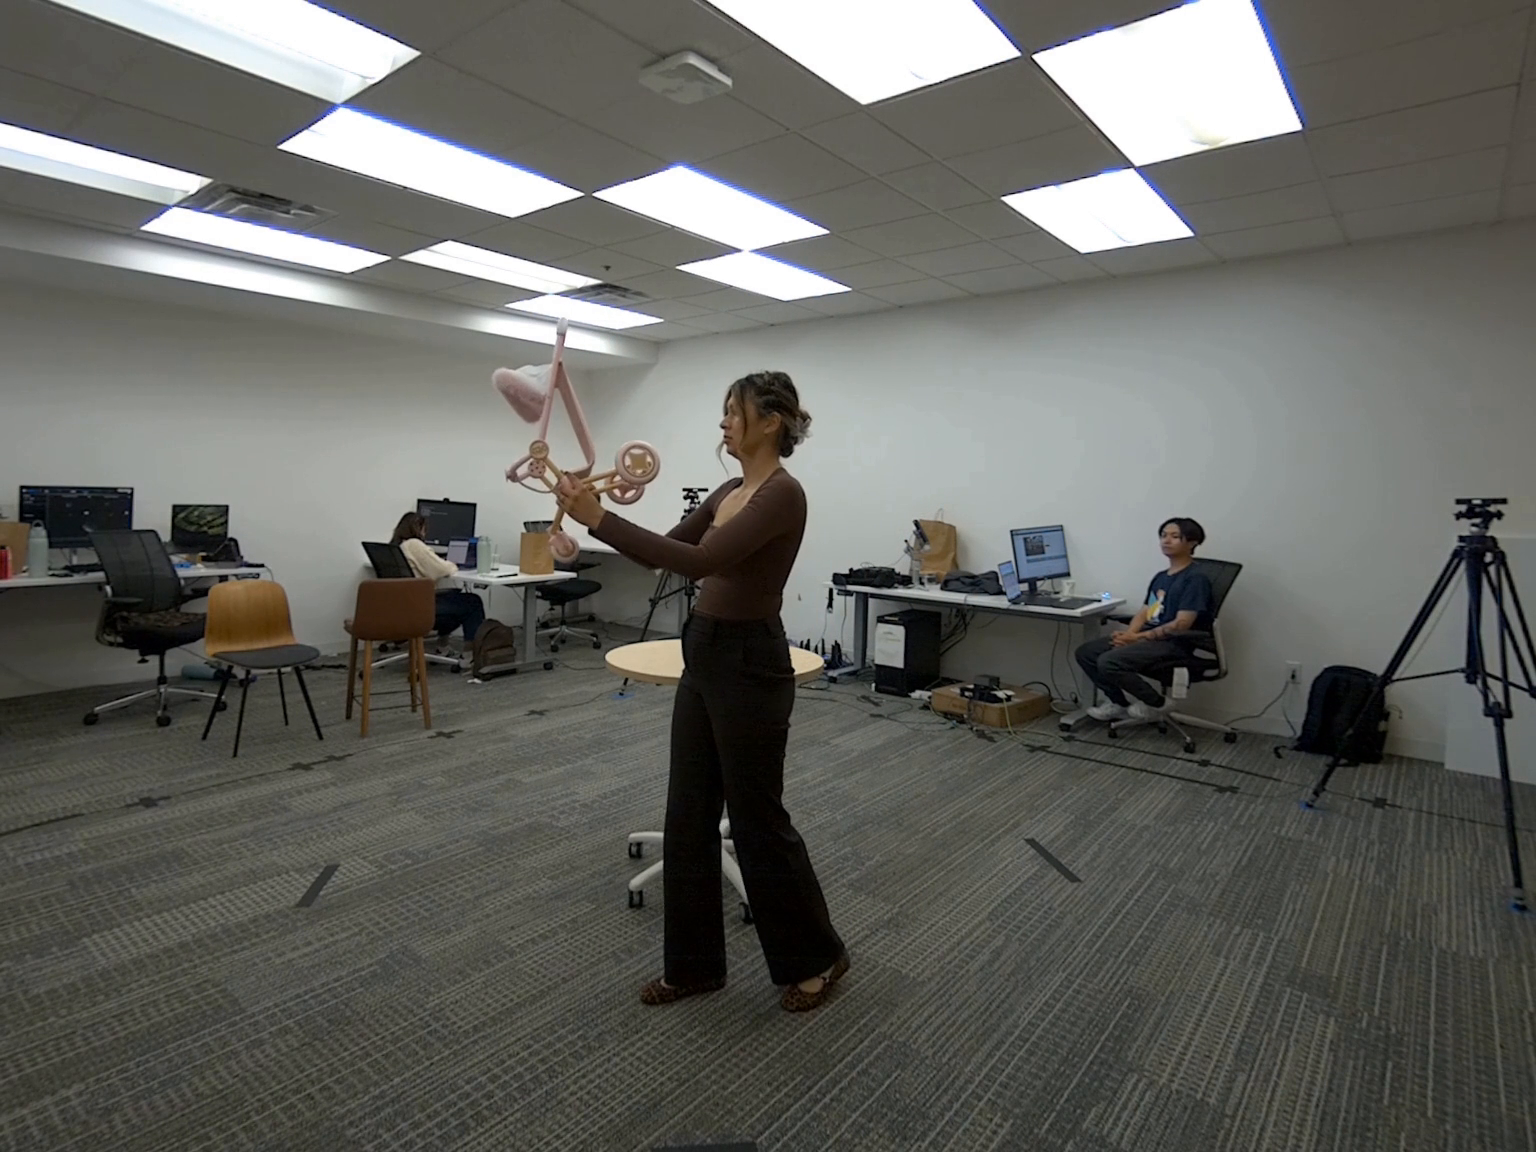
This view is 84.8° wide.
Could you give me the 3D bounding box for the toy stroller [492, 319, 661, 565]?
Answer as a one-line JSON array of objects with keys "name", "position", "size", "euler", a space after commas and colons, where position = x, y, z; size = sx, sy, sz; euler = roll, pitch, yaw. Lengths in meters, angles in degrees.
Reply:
[{"name": "toy stroller", "position": [-0.530, -0.331, 2.143], "size": [0.339, 0.535, 0.283], "euler": [-32, 1, -13]}]
